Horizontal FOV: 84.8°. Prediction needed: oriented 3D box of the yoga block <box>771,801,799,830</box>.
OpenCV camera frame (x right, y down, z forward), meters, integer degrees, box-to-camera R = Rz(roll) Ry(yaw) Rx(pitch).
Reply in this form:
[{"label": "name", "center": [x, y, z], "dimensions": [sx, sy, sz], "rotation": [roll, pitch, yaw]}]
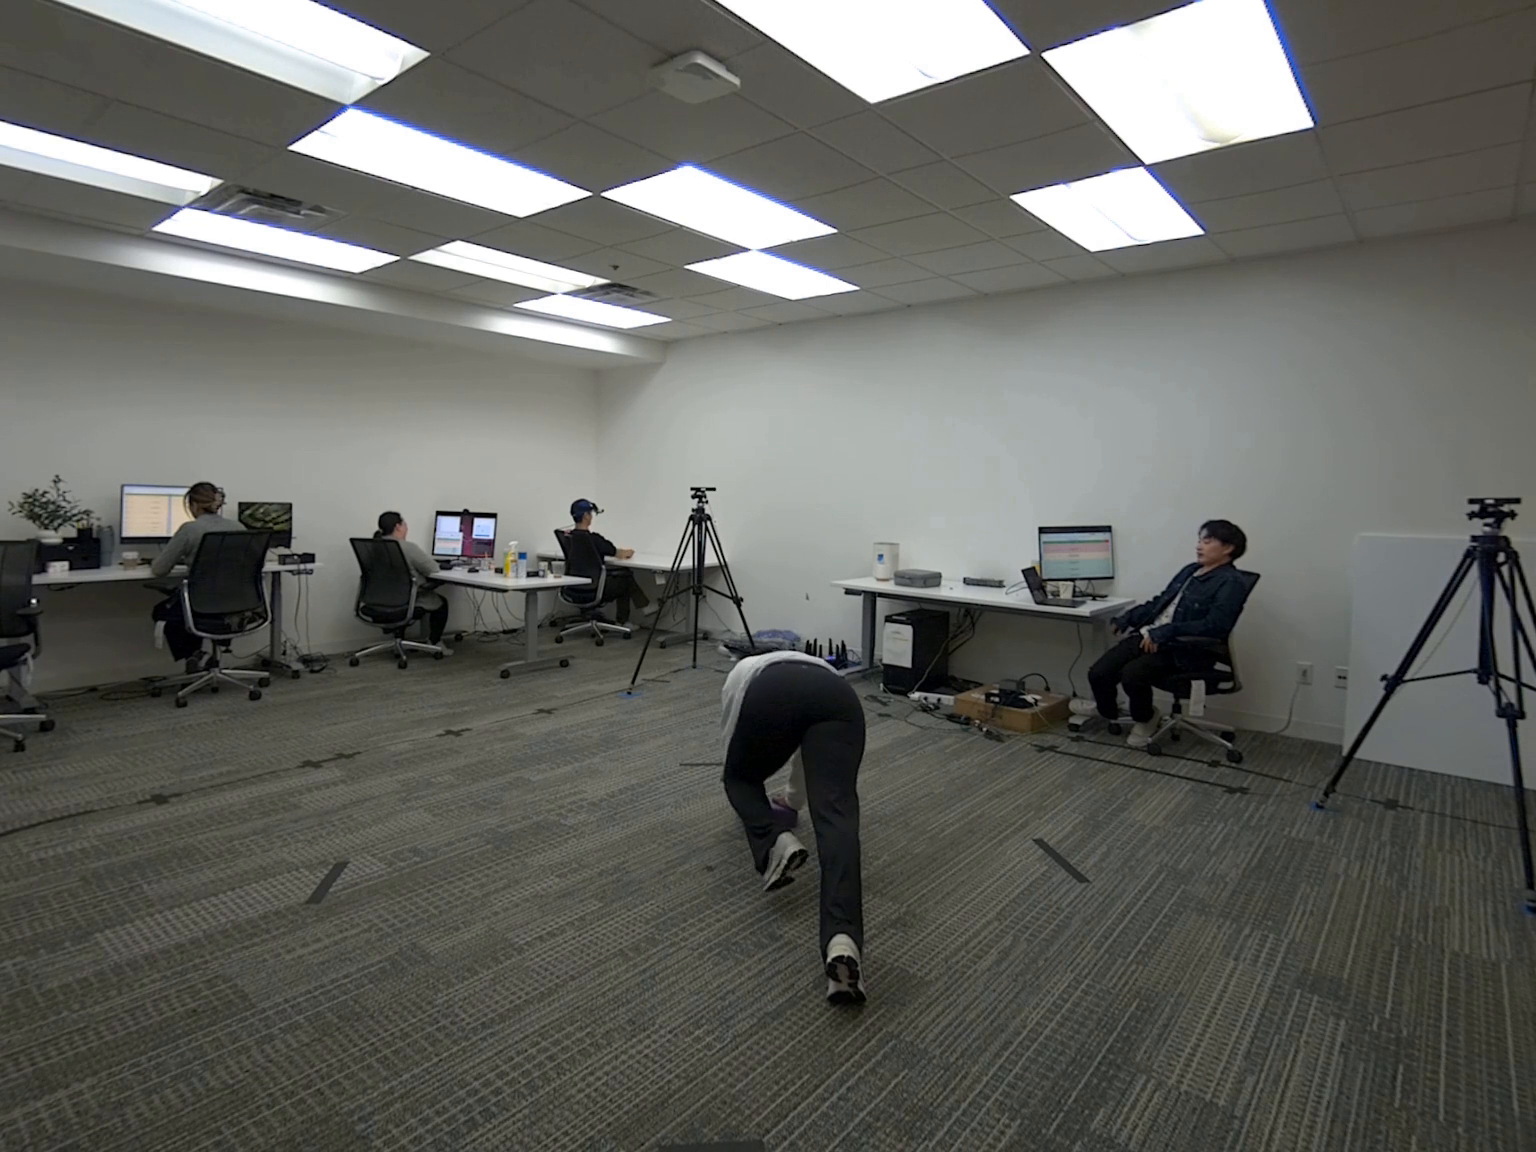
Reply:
[{"label": "yoga block", "center": [-0.003, 0.979, 3.566], "dimensions": [0.228, 0.076, 0.149], "rotation": [0, 0, -4]}]
